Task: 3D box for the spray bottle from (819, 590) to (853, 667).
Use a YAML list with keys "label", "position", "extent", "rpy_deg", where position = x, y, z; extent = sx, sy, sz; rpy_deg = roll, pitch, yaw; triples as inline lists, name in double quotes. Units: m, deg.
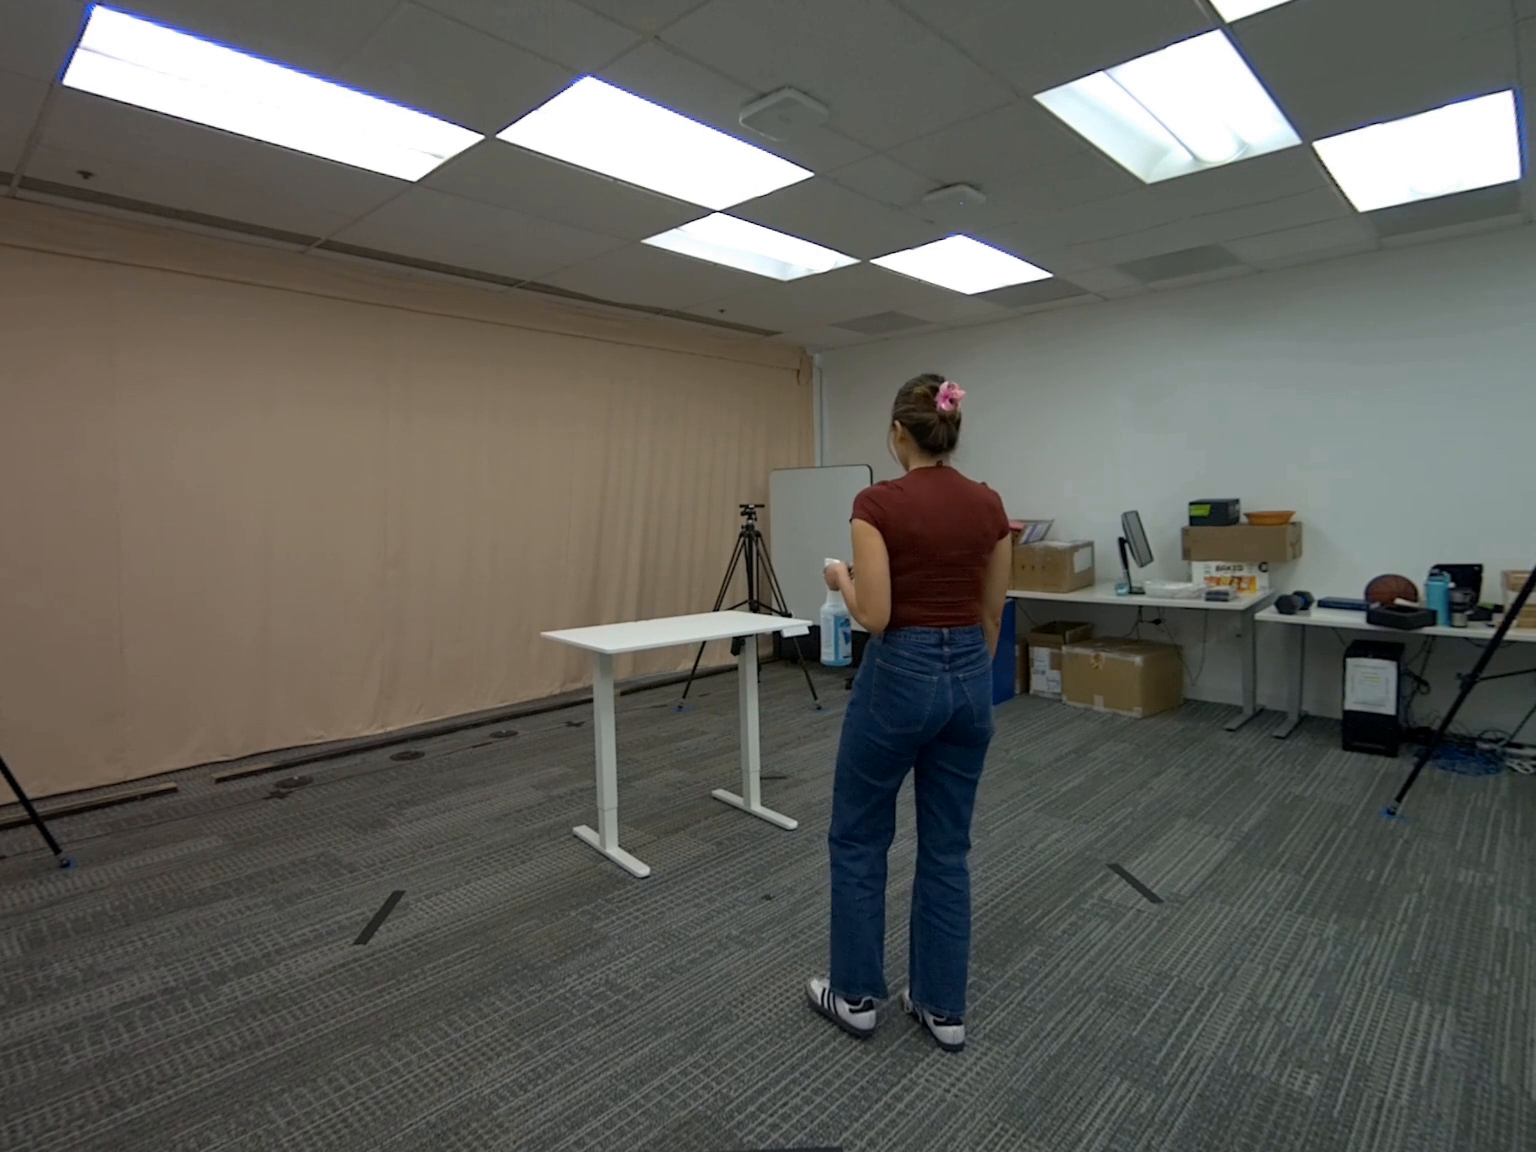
- label: "spray bottle"
  position: [0.204, 0.108, 2.367]
  extent: [0.088, 0.296, 0.089]
  rpy_deg: [0, 4, 6]
